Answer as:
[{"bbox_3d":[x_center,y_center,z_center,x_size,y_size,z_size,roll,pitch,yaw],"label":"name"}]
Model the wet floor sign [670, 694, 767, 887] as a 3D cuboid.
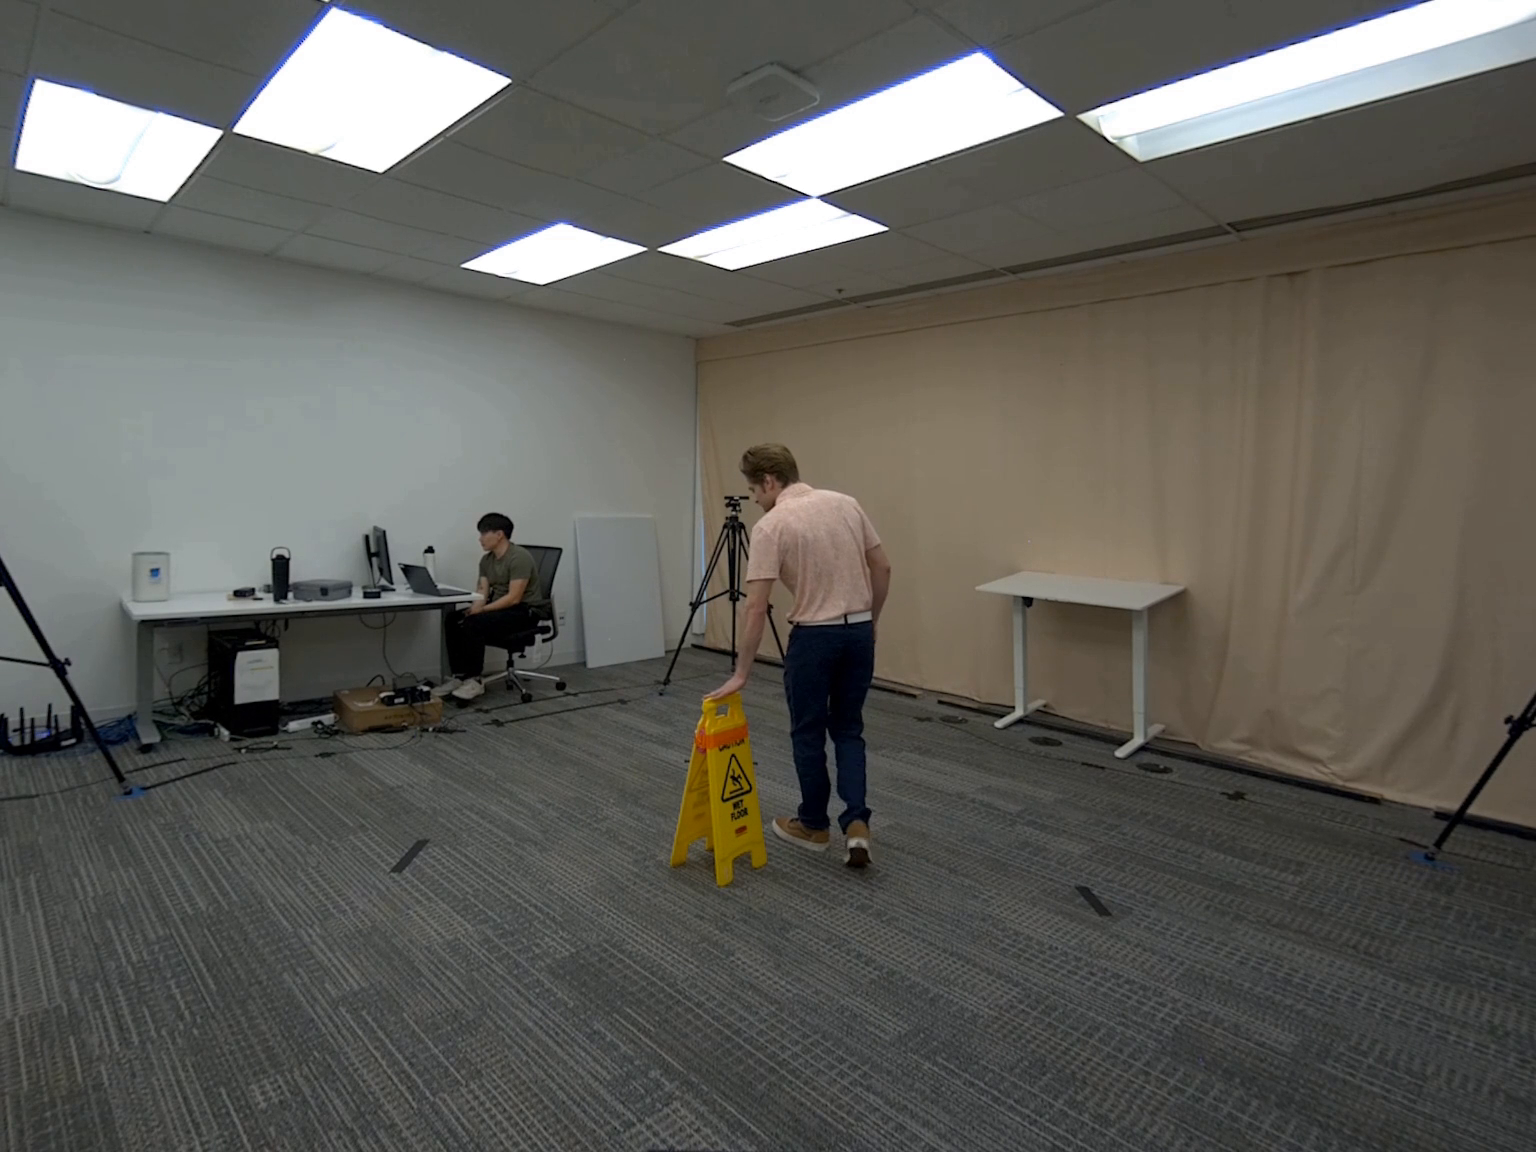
[{"bbox_3d":[-0.183,0.772,3.166,0.297,0.644,0.276,5,5,38],"label":"wet floor sign"}]
